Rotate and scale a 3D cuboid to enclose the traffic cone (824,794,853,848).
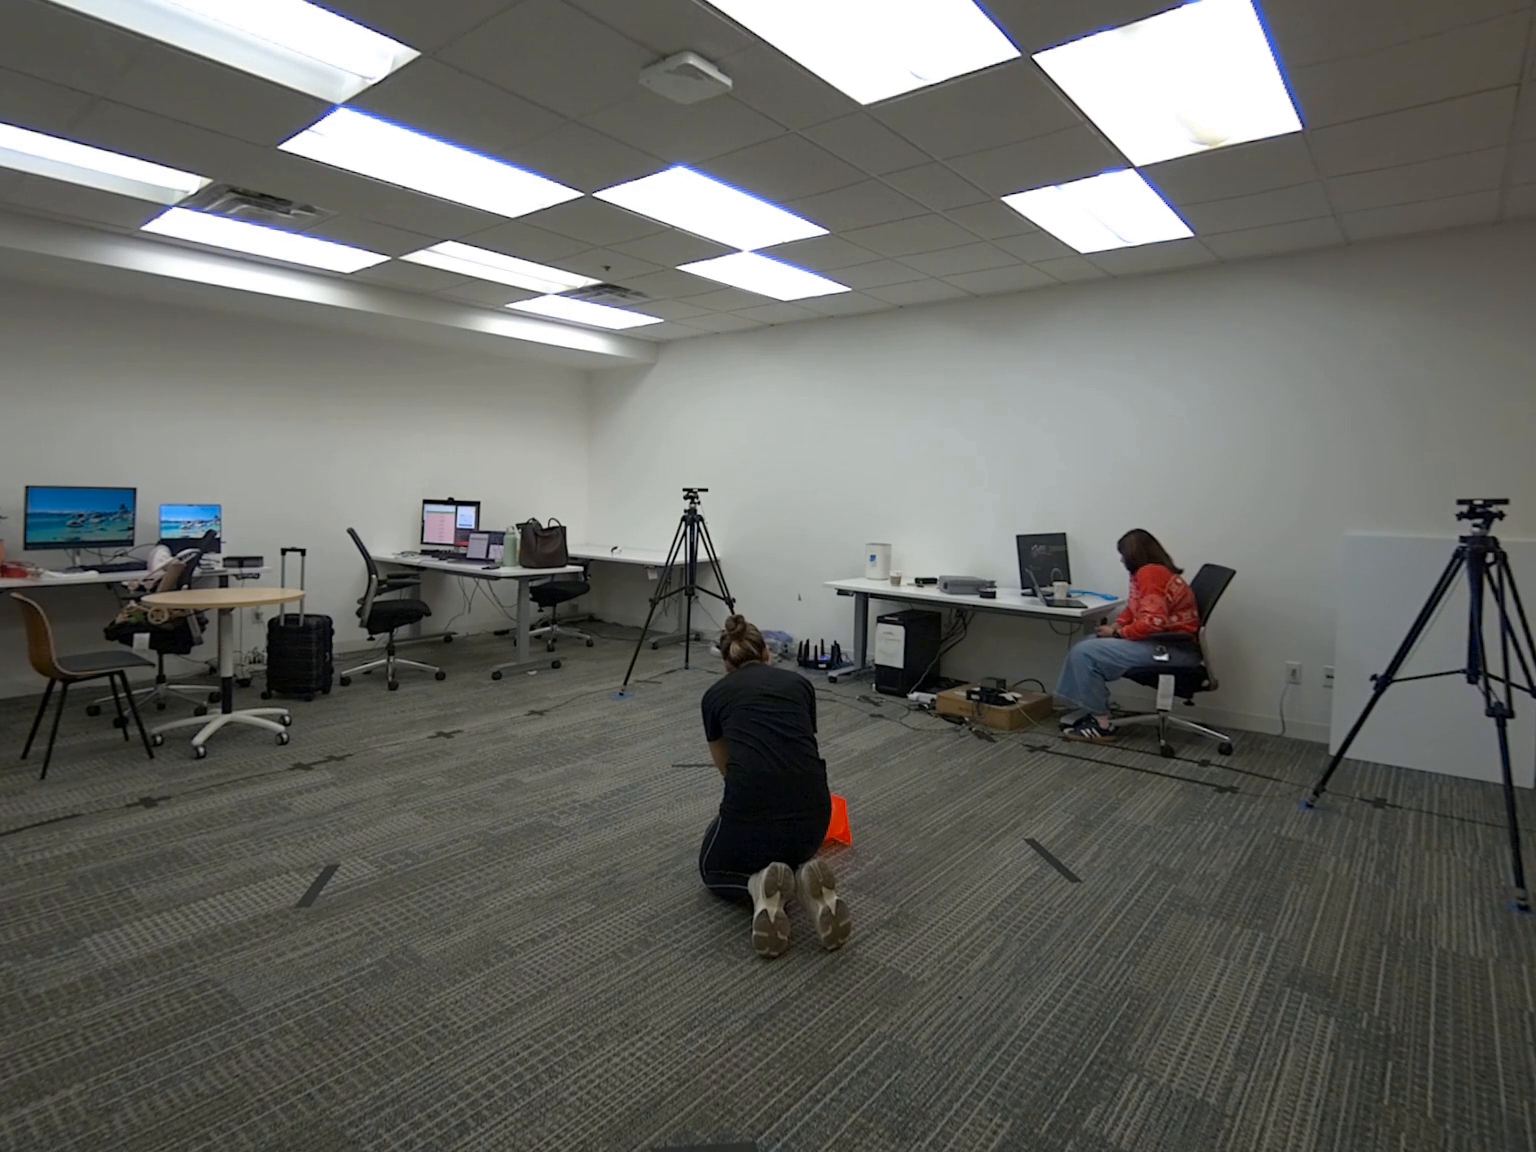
[{"bbox_3d":[0.107,0.996,3.286,0.375,0.203,0.210,-18,13,-38],"label":"traffic cone"}]
